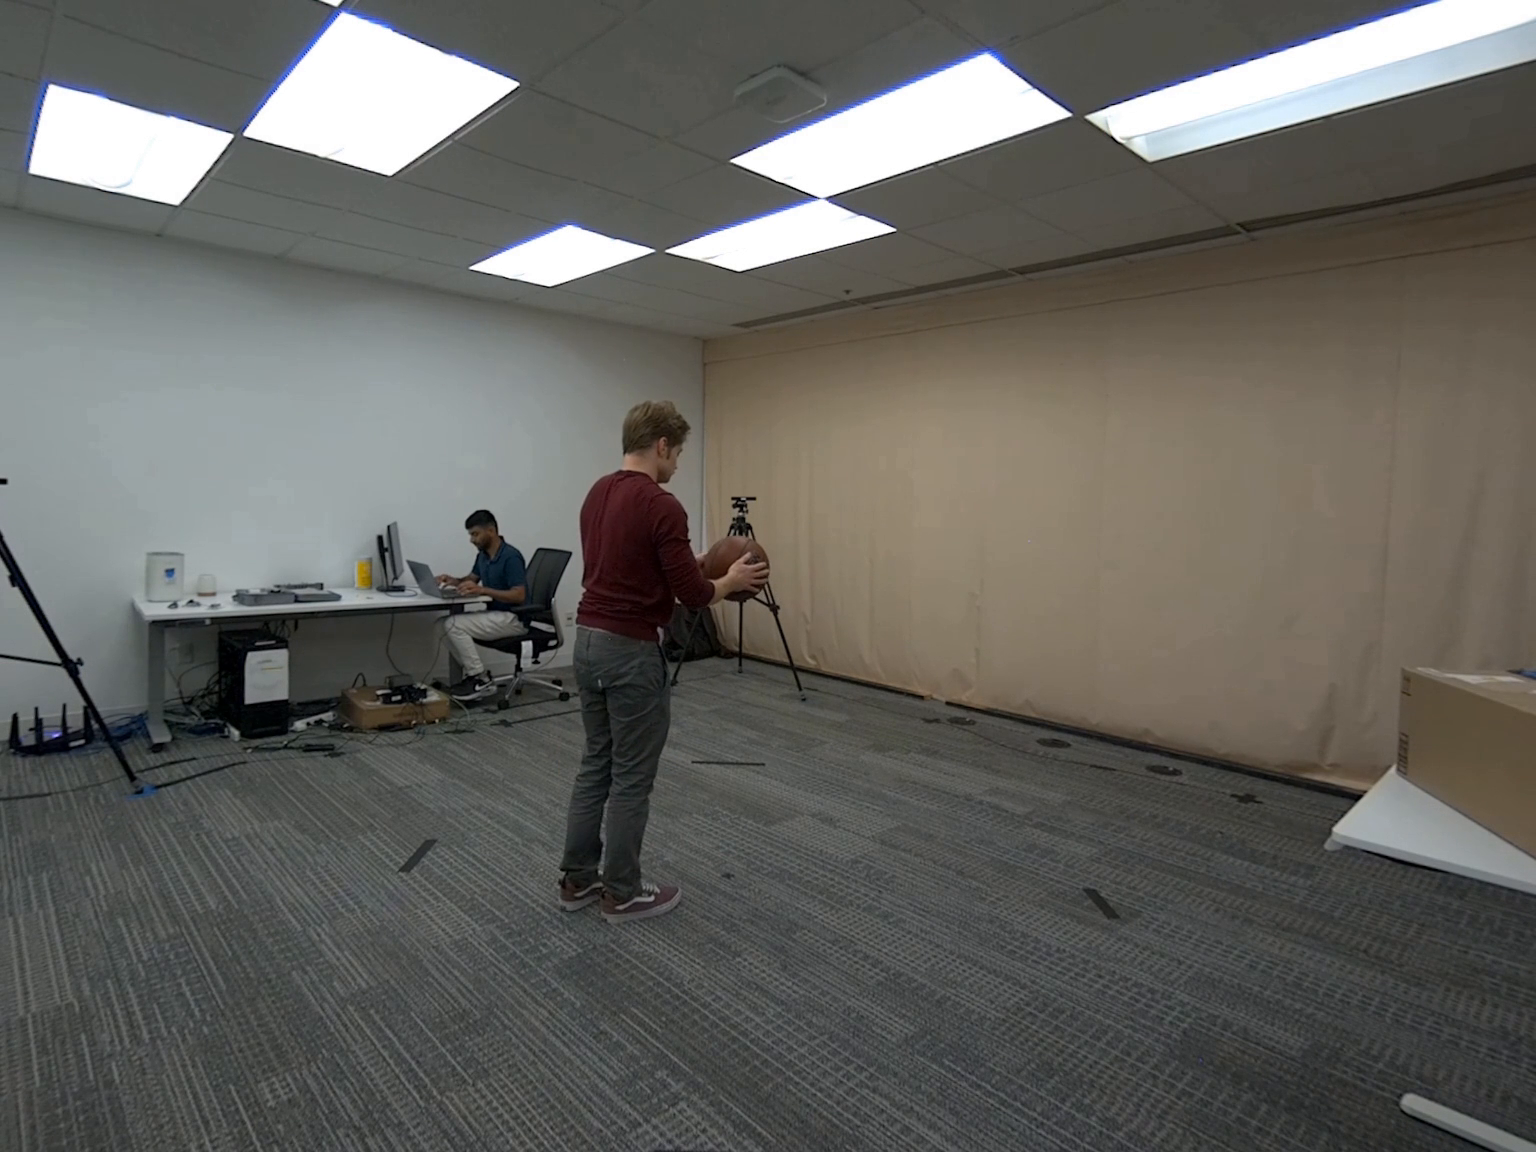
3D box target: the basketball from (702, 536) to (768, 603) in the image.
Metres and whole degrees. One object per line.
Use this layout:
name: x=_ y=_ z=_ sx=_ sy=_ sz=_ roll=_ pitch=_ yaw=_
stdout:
basketball: x=-0.118 y=-0.030 z=3.045 sx=0.236 sy=0.235 sz=0.237 roll=1 pitch=4 yaw=-1
